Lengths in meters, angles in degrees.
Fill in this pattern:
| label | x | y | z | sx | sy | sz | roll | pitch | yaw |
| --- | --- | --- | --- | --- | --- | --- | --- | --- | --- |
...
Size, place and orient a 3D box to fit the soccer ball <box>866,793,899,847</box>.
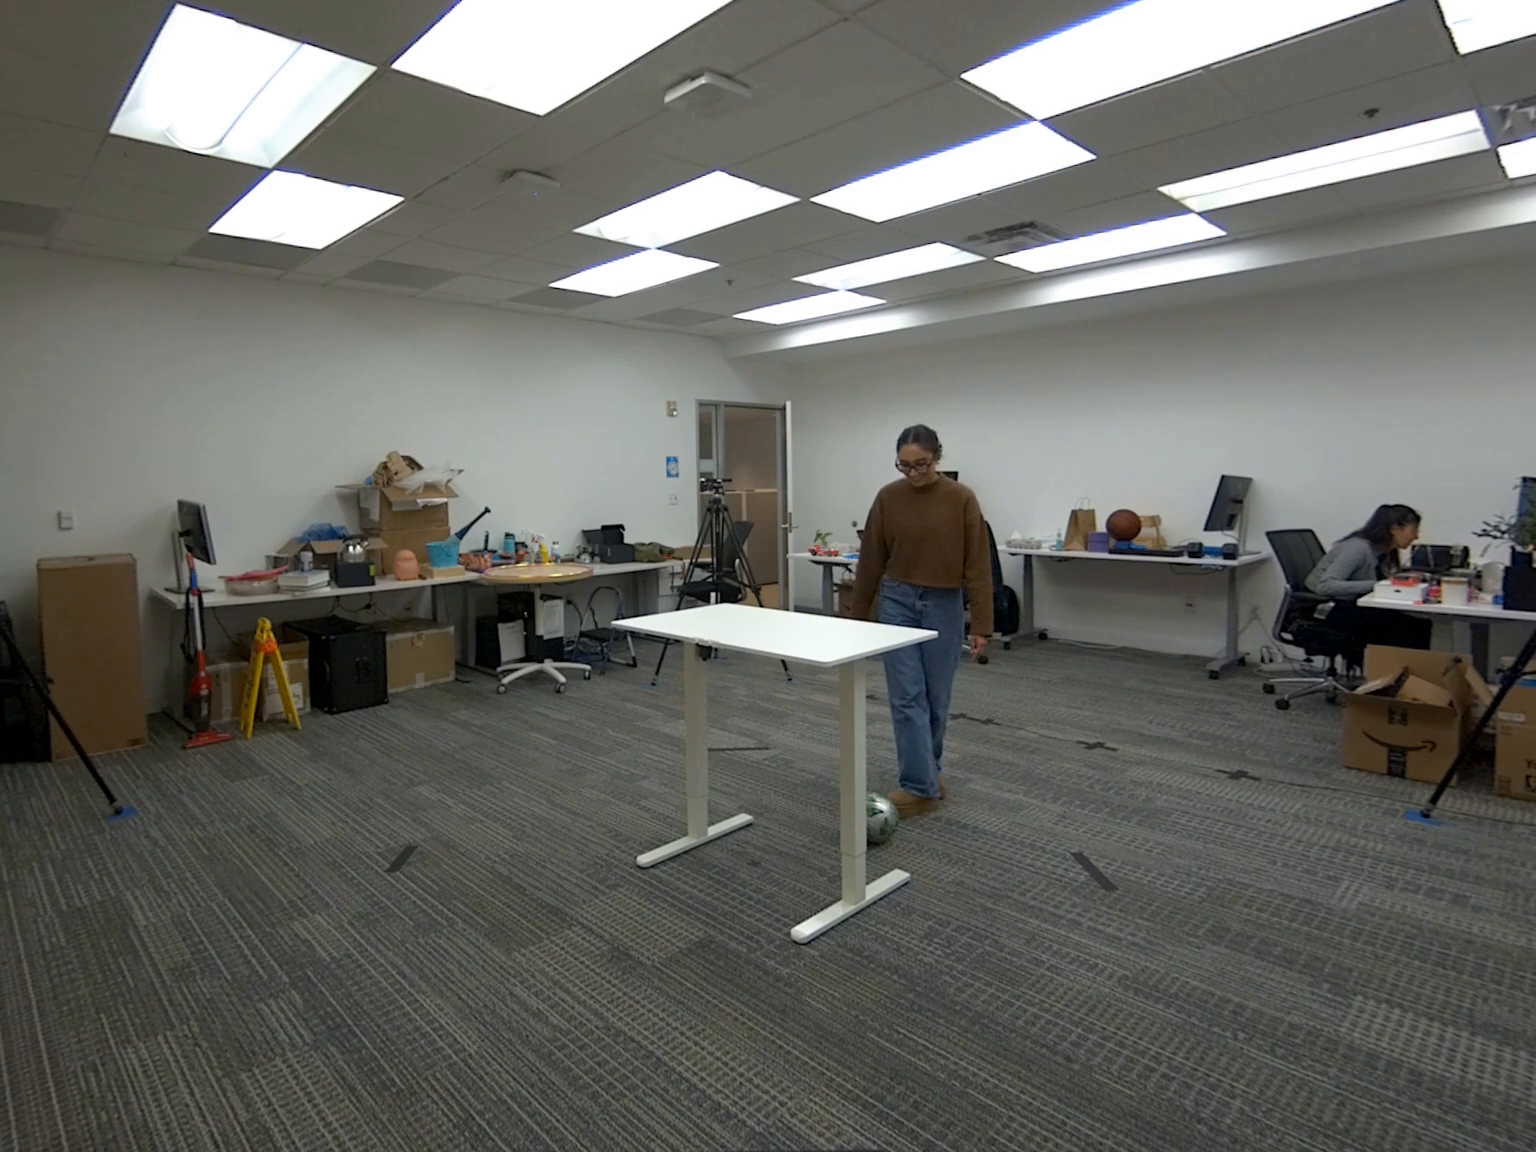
| label | x | y | z | sx | sy | sz | roll | pitch | yaw |
| --- | --- | --- | --- | --- | --- | --- | --- | --- | --- |
| soccer ball | 0.410 | 0.922 | 3.276 | 0.187 | 0.187 | 0.188 | -1 | 5 | -2 |
